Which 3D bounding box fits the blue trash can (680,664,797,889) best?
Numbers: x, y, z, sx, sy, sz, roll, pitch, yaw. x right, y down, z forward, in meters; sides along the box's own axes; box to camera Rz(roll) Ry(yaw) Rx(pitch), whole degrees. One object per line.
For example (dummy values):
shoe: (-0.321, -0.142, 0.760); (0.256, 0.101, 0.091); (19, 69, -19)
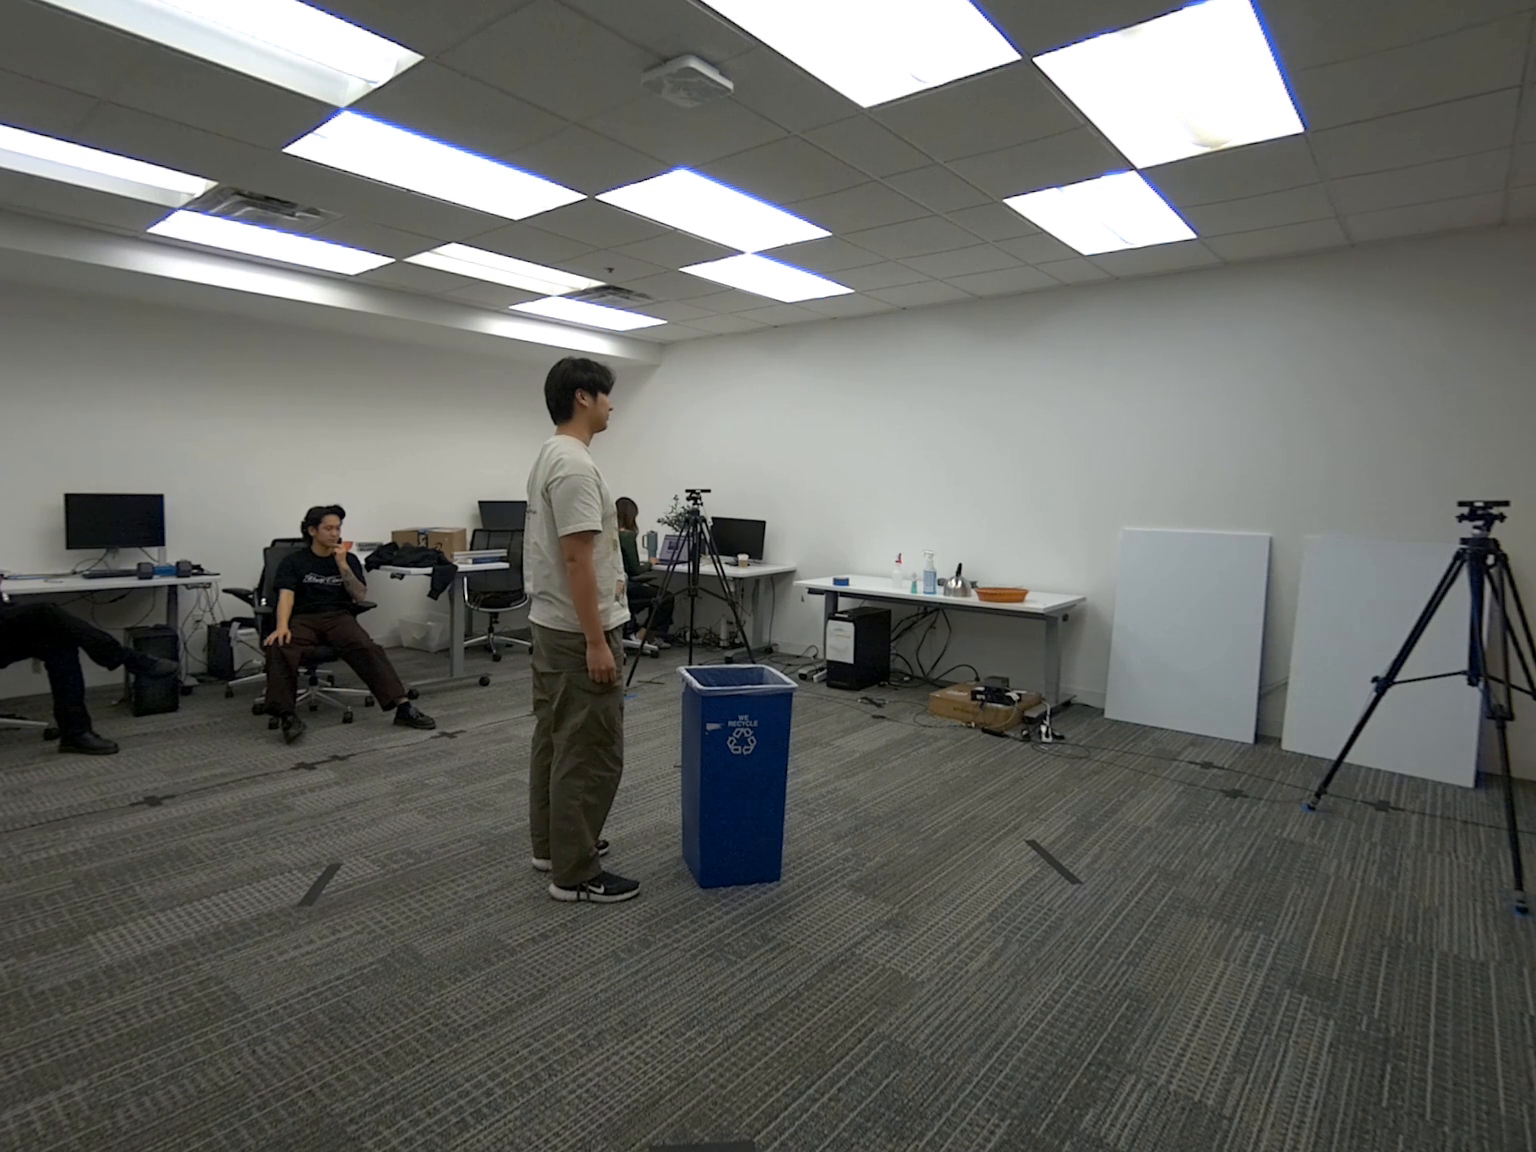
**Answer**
blue trash can: (-0.137, 0.718, 3.122); (0.368, 0.711, 0.386); (0, 4, -17)
